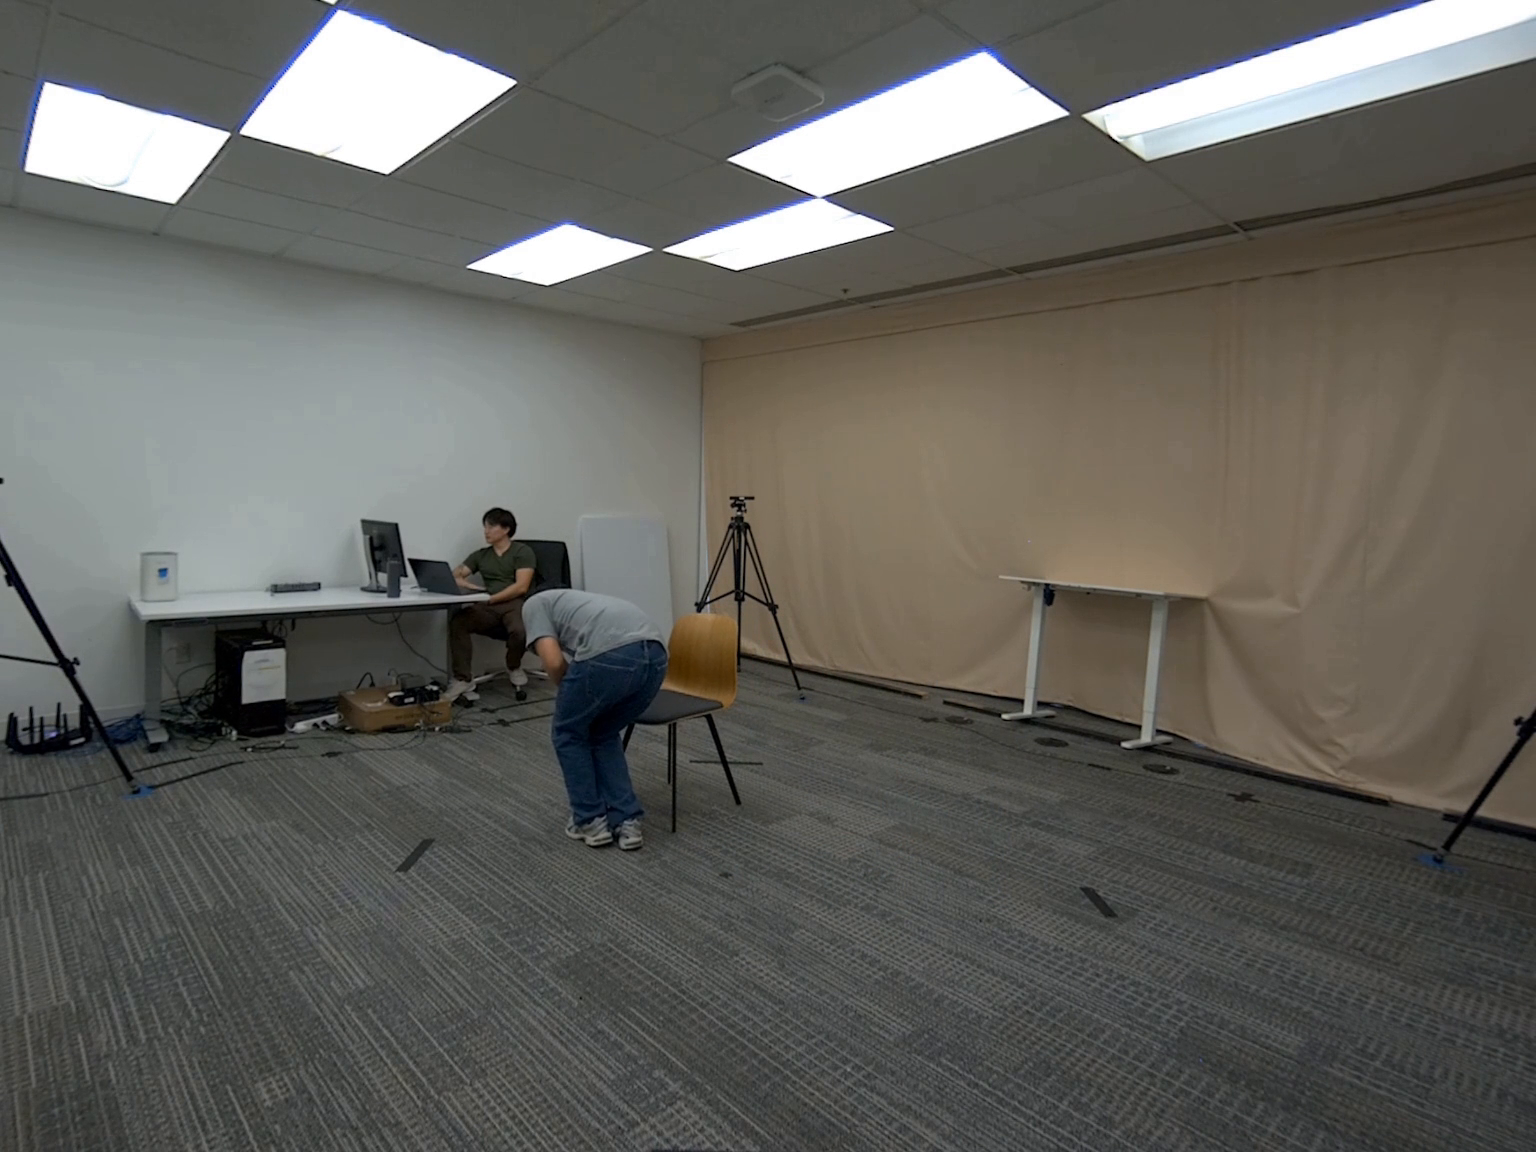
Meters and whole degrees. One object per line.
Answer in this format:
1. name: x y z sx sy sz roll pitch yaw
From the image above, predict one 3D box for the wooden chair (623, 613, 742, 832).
1. wooden chair: -0.440 0.610 3.766 0.490 0.877 0.510 5 0 38
